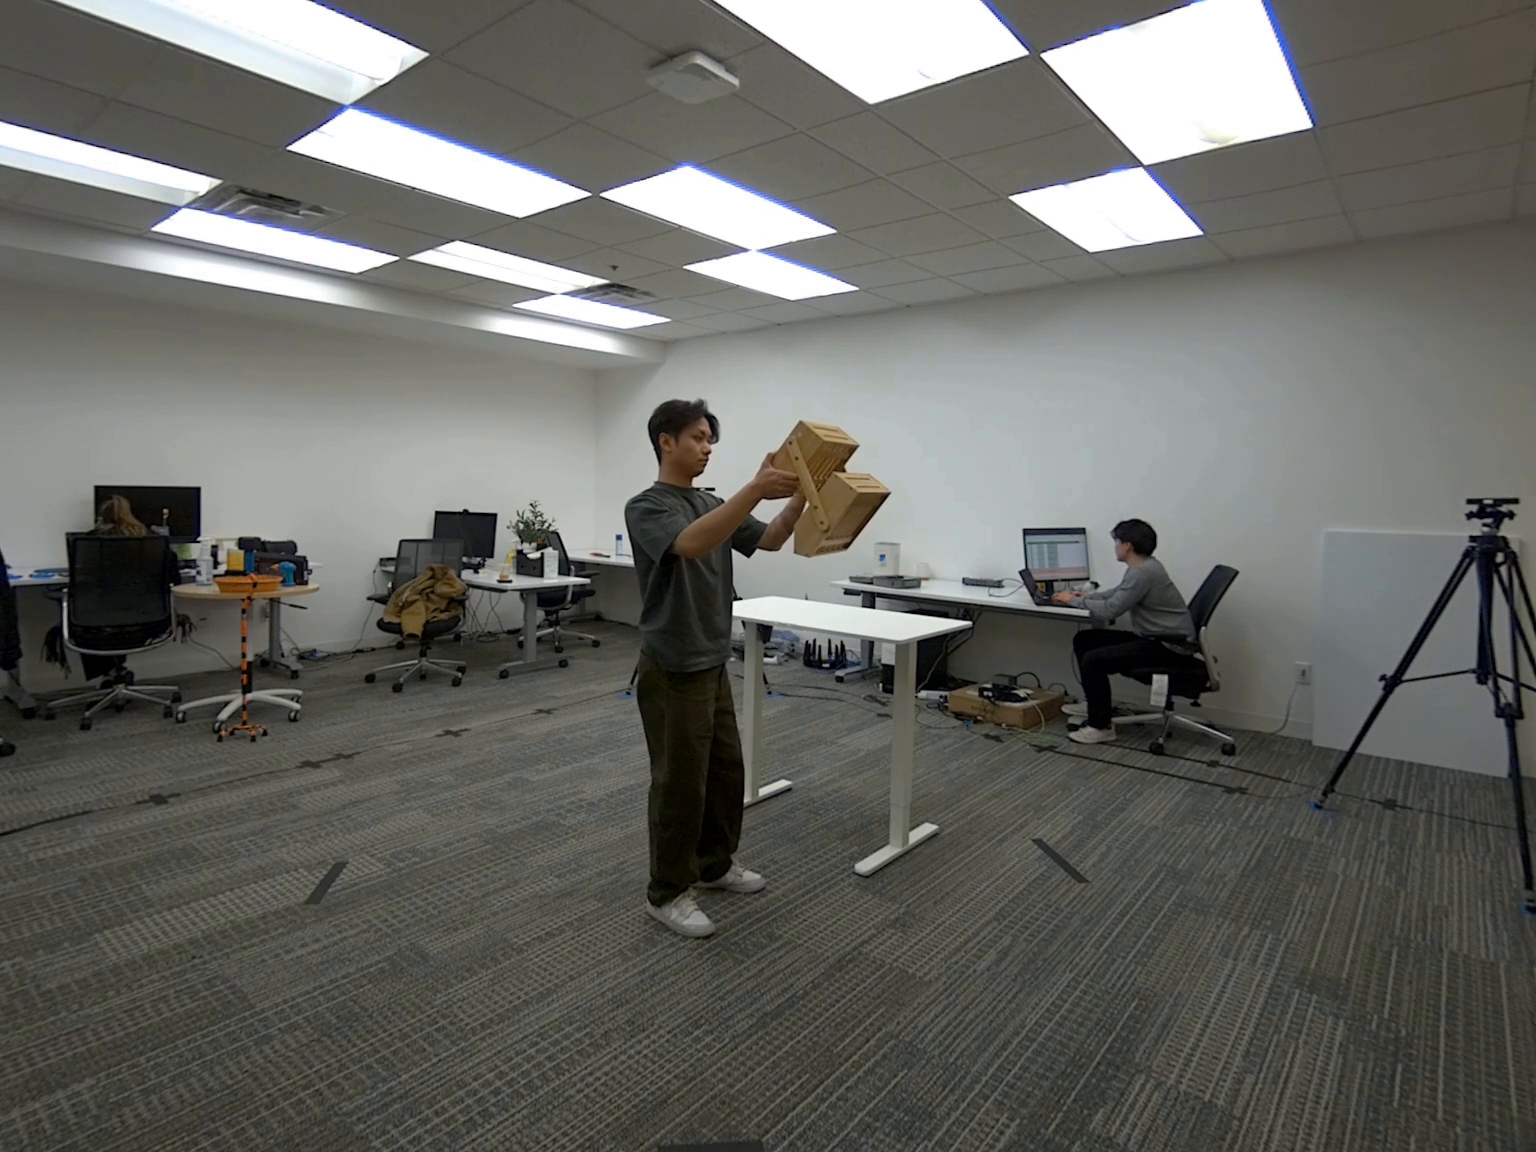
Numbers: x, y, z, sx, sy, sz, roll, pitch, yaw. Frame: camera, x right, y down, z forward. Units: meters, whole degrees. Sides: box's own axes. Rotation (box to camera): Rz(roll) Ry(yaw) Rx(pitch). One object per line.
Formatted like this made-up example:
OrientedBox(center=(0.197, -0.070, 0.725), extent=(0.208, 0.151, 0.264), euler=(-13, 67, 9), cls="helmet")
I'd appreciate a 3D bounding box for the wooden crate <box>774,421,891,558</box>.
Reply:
OrientedBox(center=(0.146, -0.251, 2.490), extent=(0.280, 0.301, 0.317), euler=(43, 21, 17), cls="wooden crate")
